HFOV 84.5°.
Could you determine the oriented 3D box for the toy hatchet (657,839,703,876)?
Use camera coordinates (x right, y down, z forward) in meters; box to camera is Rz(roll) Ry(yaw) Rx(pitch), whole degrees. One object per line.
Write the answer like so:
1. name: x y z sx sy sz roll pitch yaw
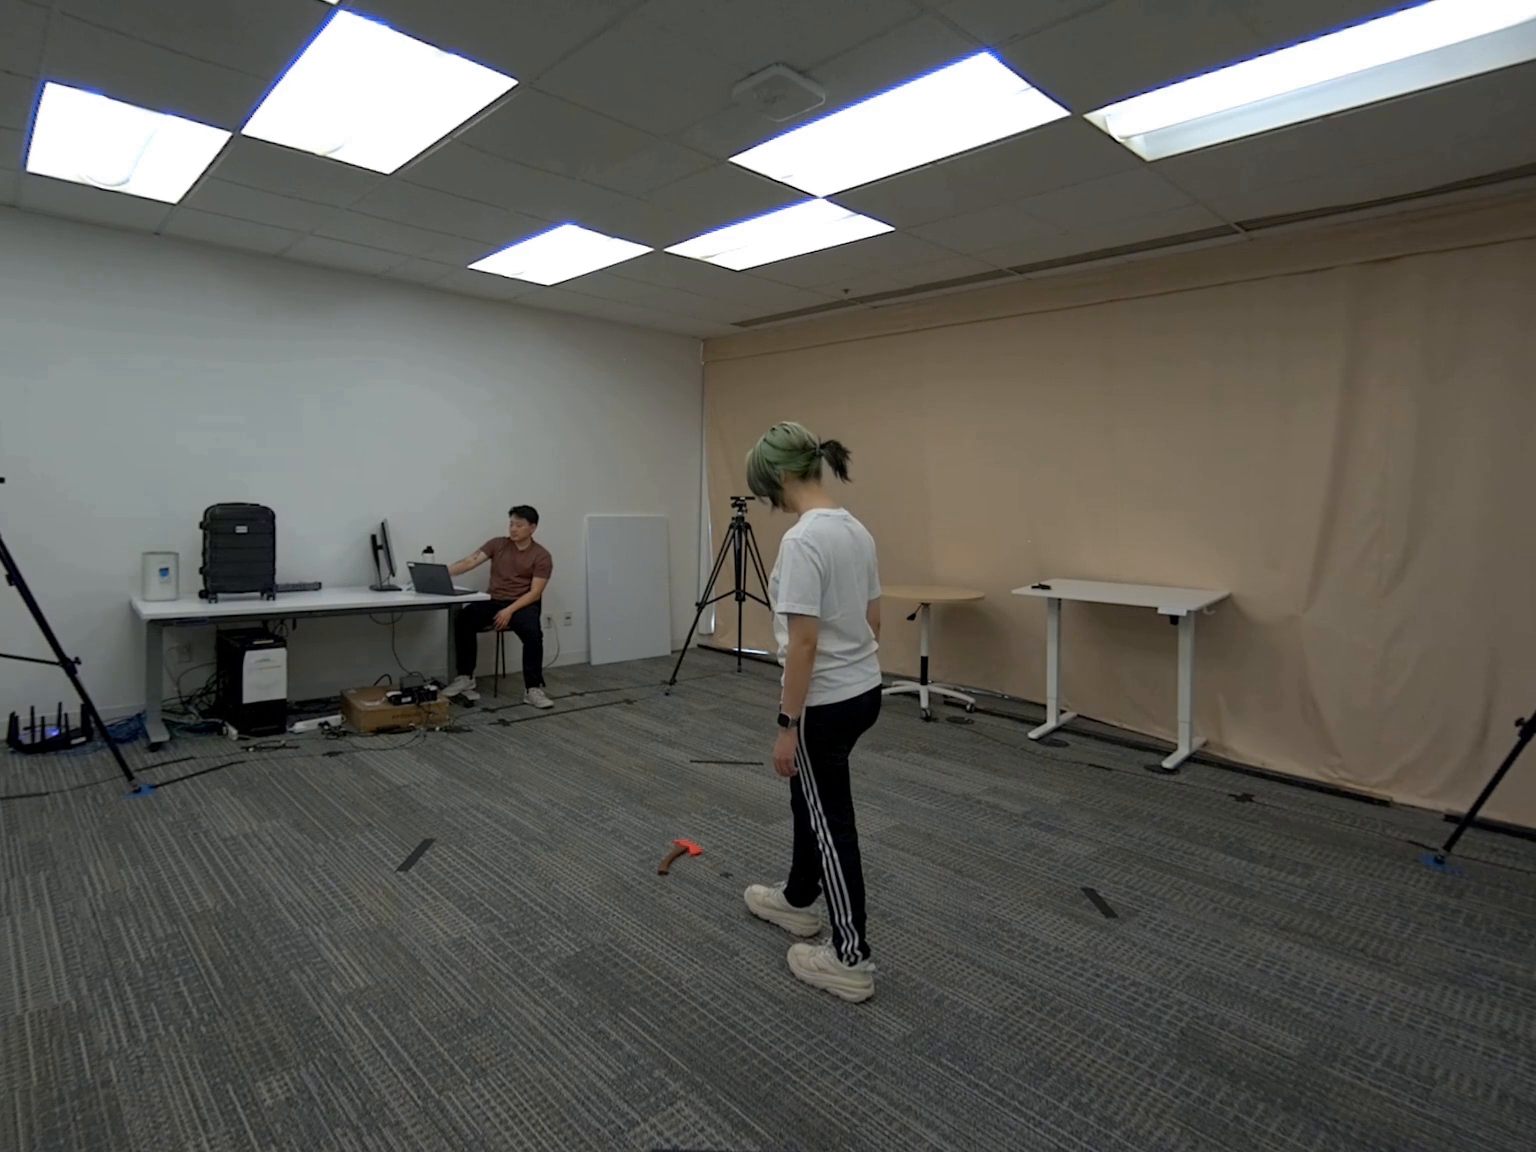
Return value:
1. toy hatchet: -0.337 1.083 3.214 0.132 0.029 0.270 7 8 5
